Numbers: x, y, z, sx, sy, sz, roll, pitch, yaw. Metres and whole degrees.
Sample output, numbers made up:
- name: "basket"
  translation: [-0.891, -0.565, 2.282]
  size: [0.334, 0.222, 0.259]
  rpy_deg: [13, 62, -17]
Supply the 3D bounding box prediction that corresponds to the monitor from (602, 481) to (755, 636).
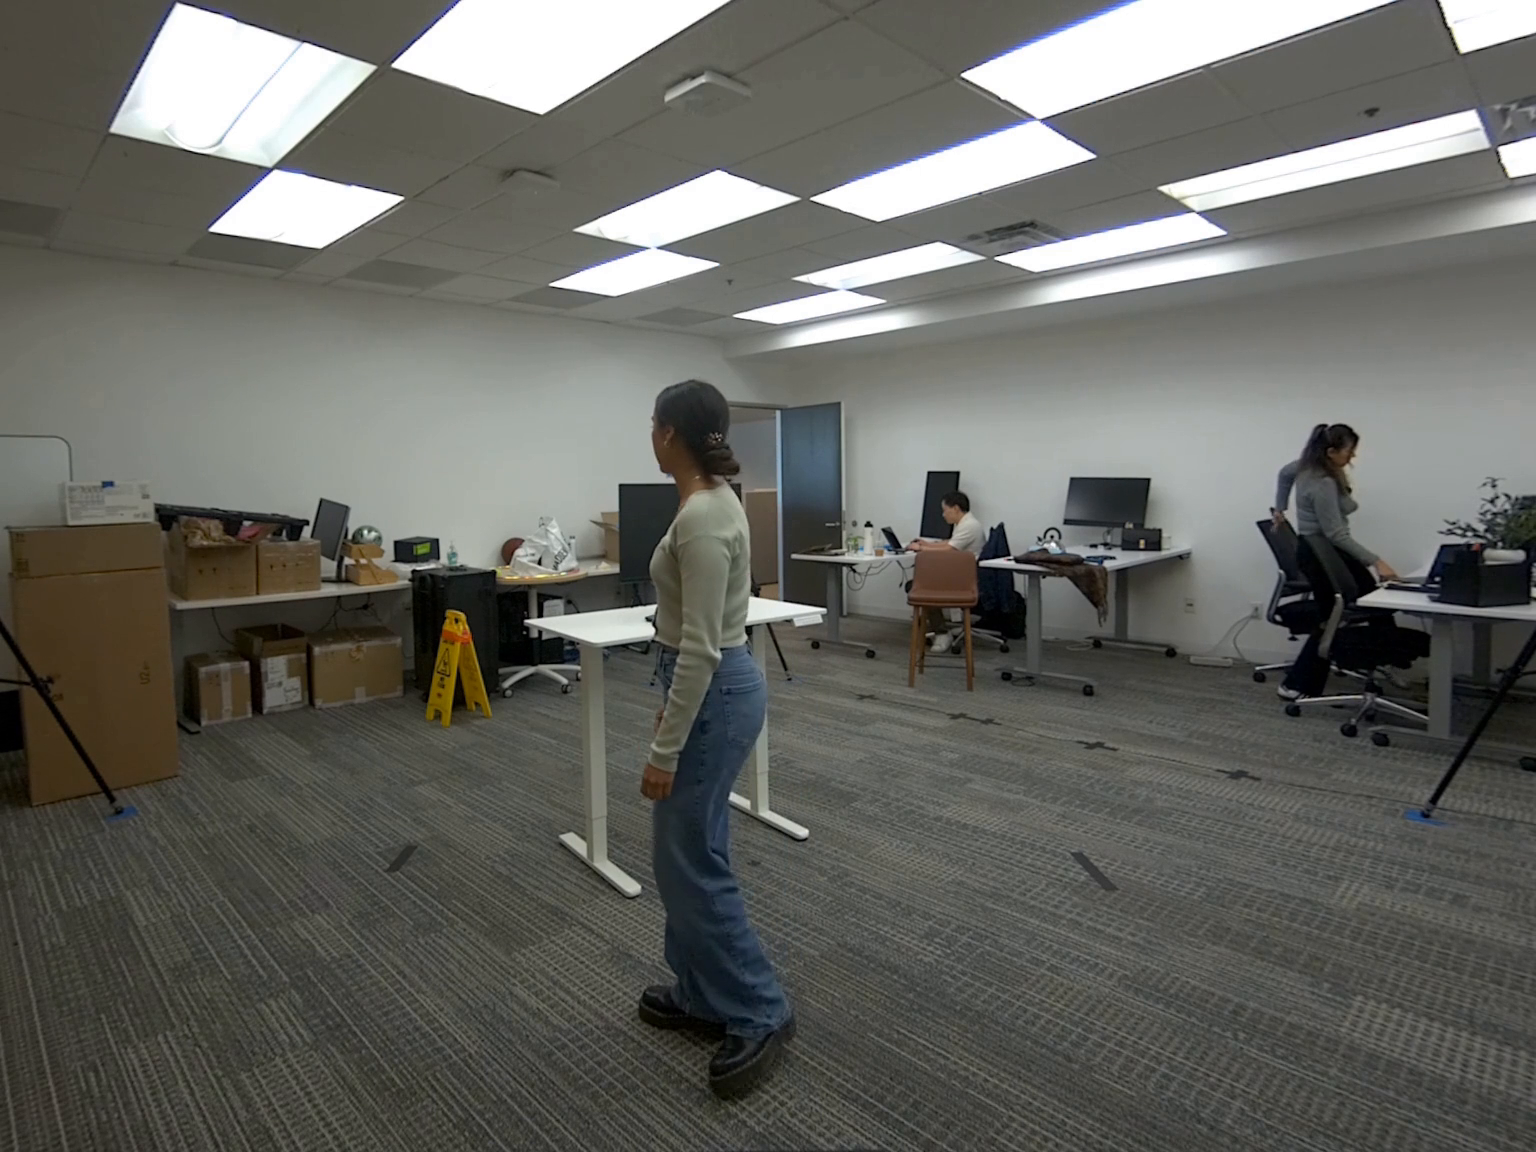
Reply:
- name: "monitor"
  translation: [-0.328, -0.086, 3.185]
  size: [0.525, 0.519, 0.193]
  rpy_deg: [-4, 9, -40]
